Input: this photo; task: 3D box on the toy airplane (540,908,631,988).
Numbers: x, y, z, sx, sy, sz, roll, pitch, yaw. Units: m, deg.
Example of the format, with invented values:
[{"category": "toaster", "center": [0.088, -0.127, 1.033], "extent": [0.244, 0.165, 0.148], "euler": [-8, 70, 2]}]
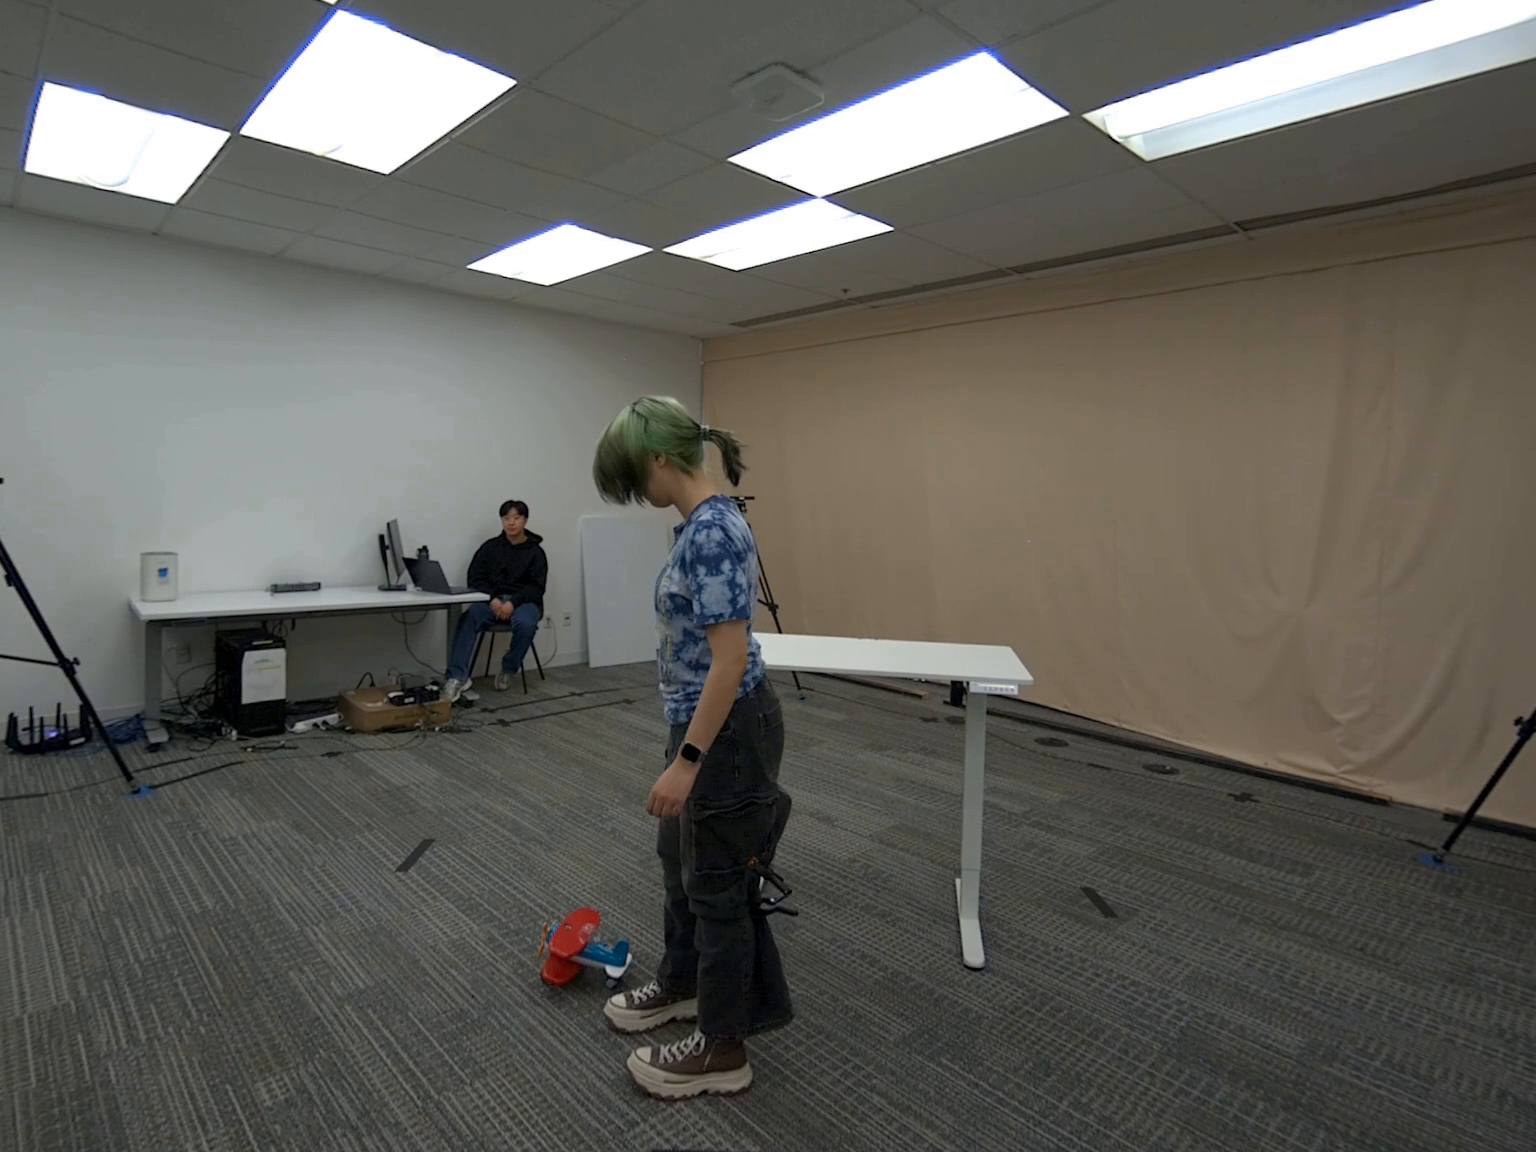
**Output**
[{"category": "toy airplane", "center": [-0.531, 1.086, 2.425], "extent": [0.256, 0.156, 0.255], "euler": [0, 5, -17]}]
